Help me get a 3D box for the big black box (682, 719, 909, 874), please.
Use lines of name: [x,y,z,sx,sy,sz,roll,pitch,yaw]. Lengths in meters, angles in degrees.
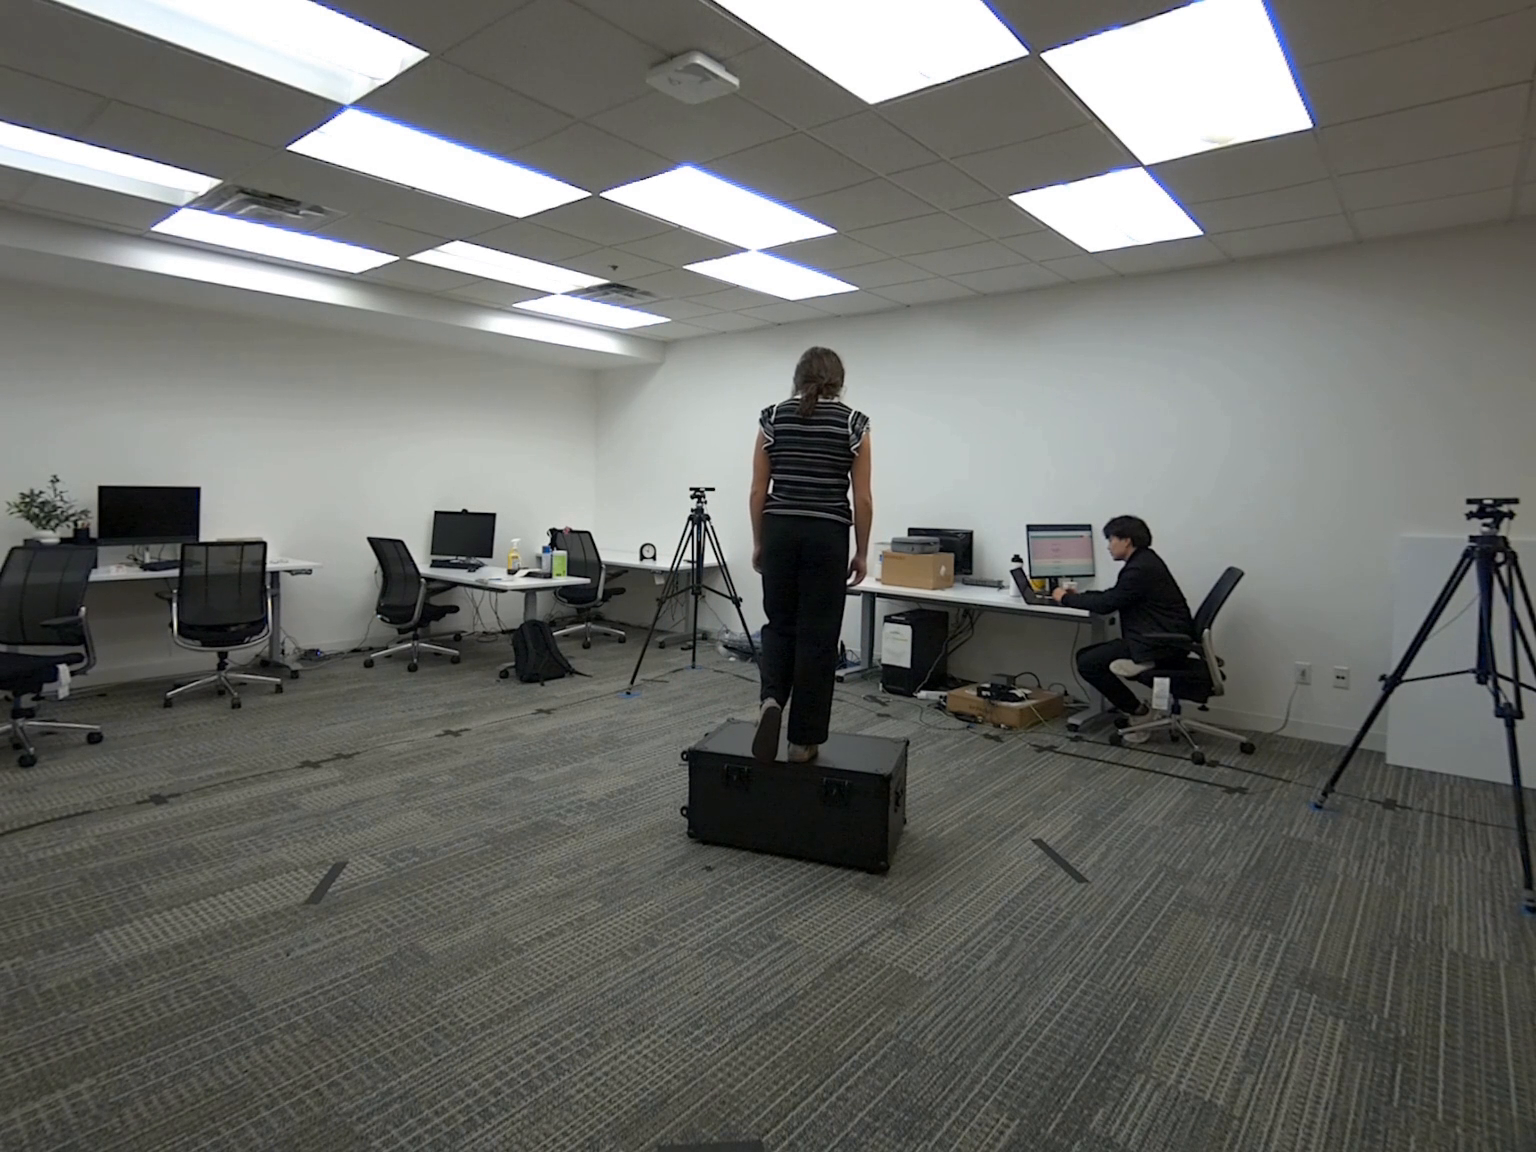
big black box: [0.089,0.849,3.425,0.879,0.394,0.513,3,6,19]
